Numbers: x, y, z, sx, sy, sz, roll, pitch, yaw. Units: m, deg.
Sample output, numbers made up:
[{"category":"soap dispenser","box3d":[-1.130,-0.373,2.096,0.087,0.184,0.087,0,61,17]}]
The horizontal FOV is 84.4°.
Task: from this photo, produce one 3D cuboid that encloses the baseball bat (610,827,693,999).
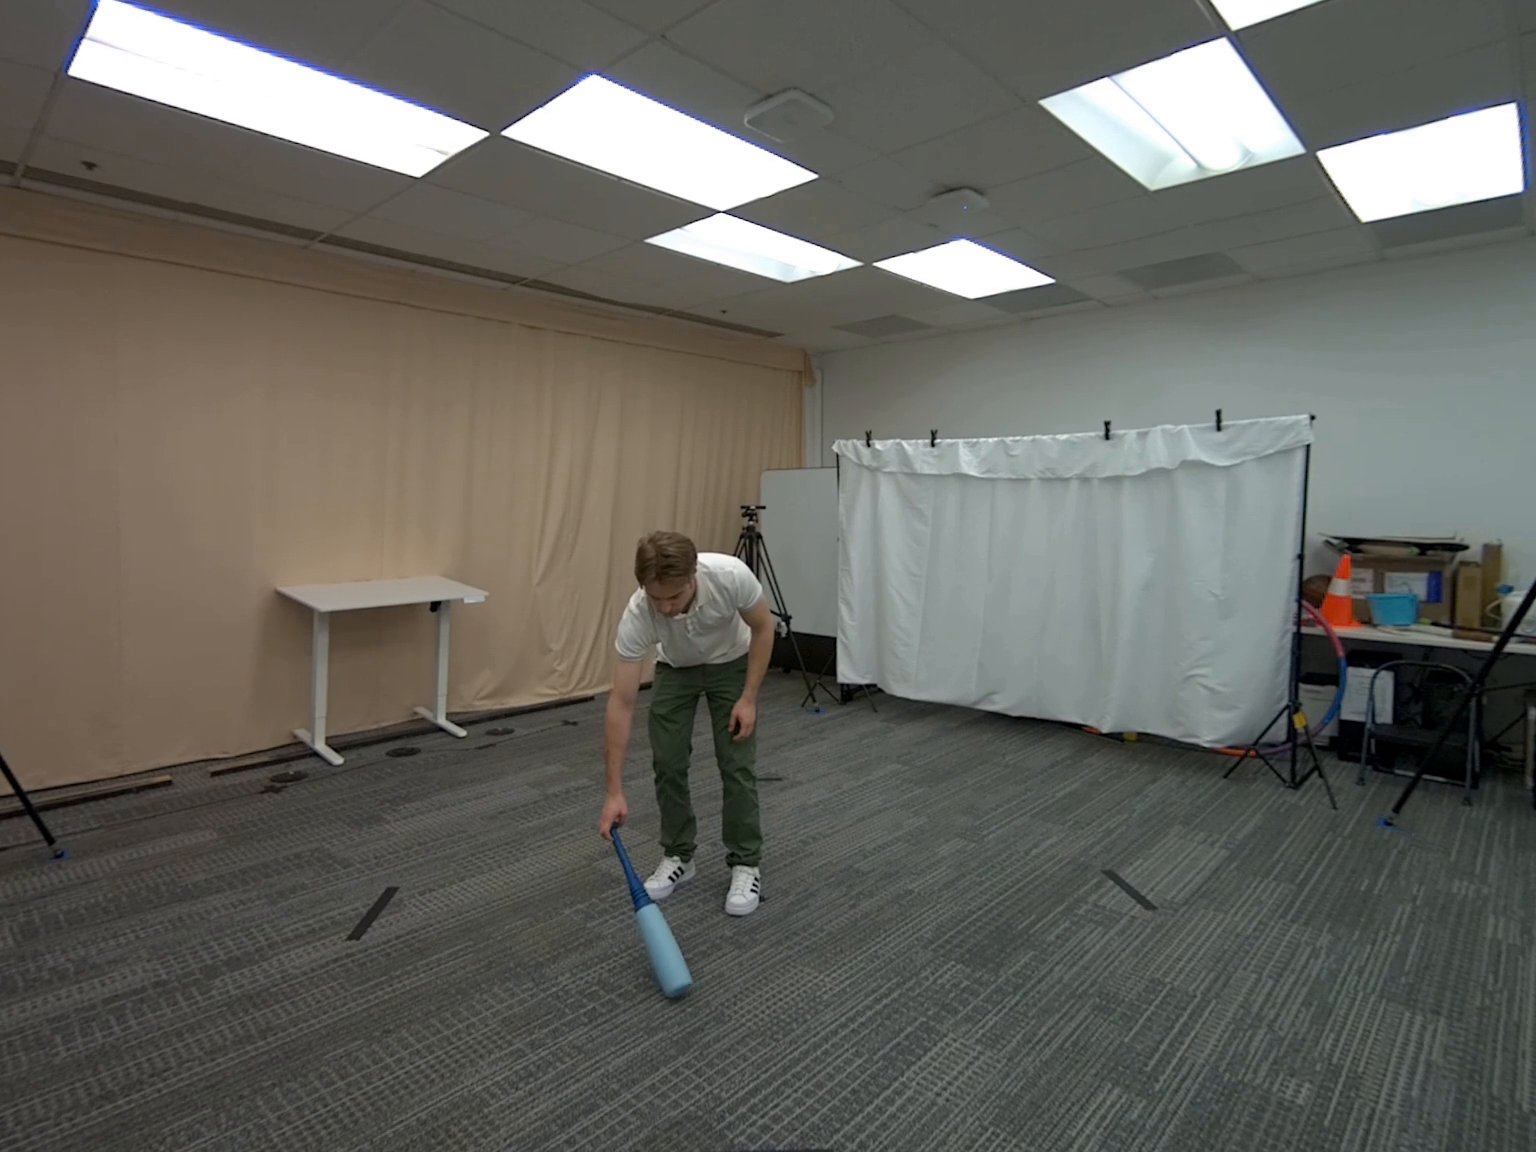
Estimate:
[{"category":"baseball bat","box3d":[-0.362,0.986,2.515,0.086,0.089,0.560,-3,44,-38]}]
